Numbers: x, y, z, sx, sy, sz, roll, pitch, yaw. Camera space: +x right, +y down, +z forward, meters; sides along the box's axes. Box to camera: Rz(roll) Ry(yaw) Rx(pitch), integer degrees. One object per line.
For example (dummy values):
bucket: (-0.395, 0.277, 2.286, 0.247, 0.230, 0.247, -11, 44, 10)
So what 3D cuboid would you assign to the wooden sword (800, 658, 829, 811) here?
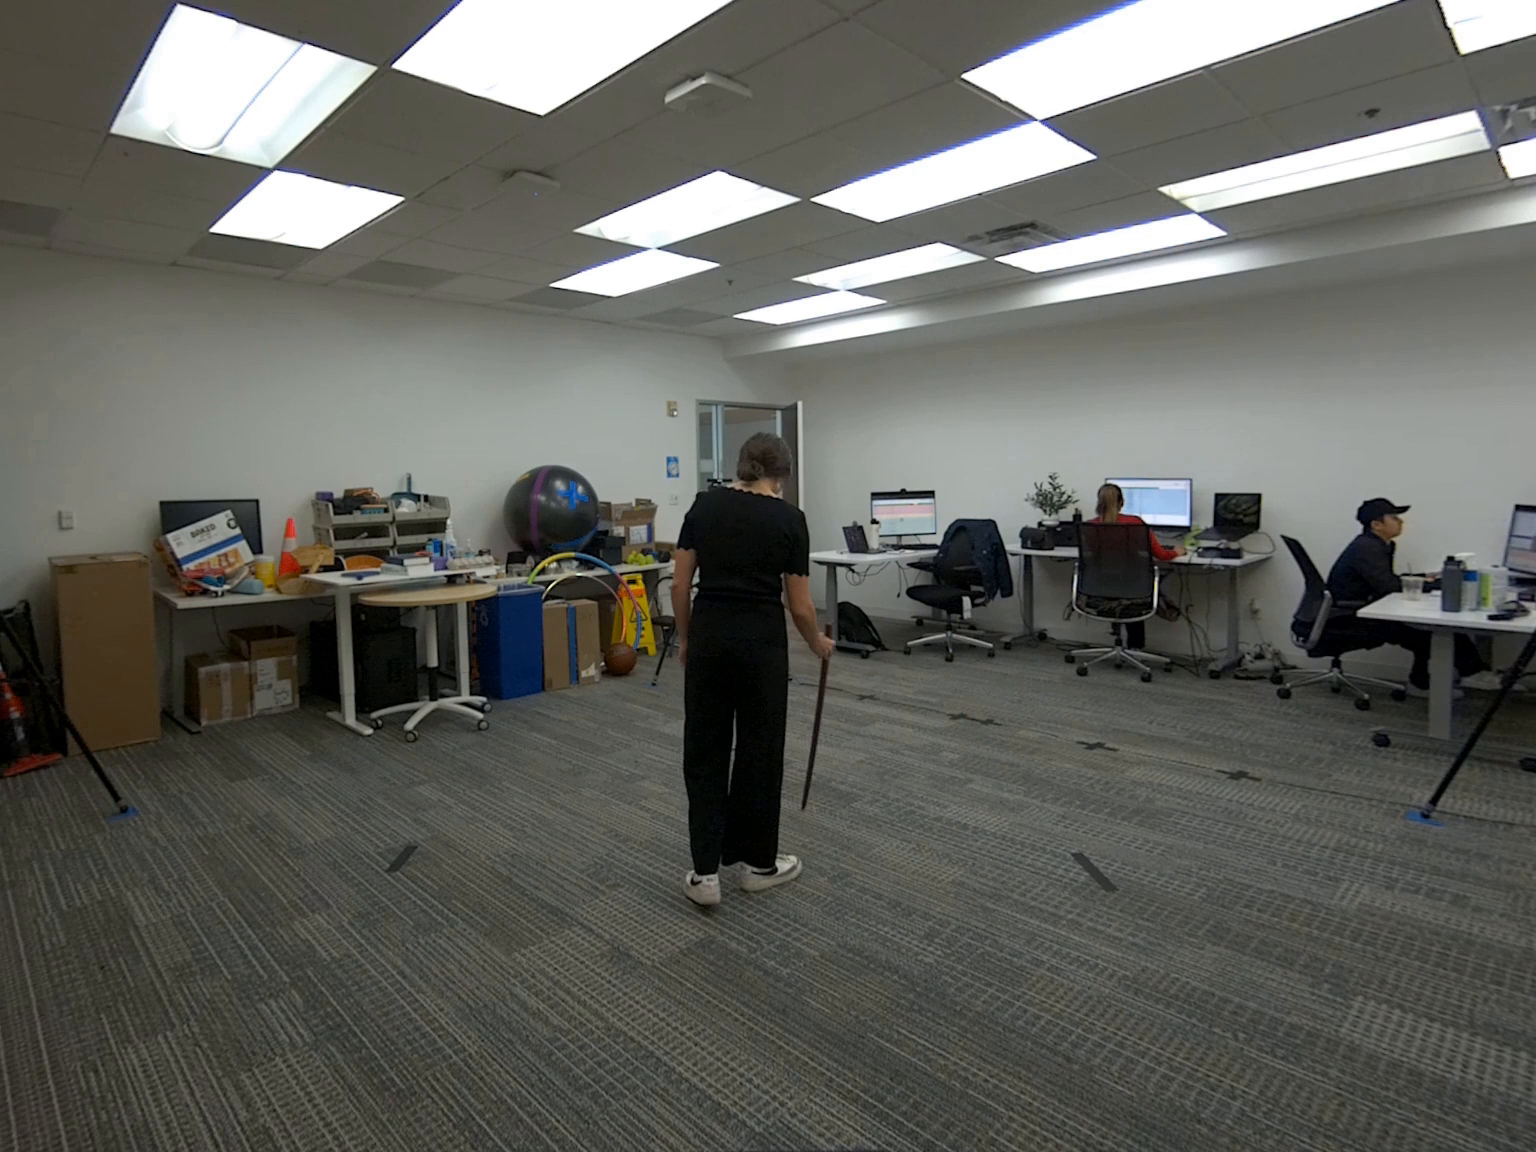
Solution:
wooden sword: (0.178, 0.590, 3.337, 0.025, 1.000, 0.051, 27, 42, 28)
